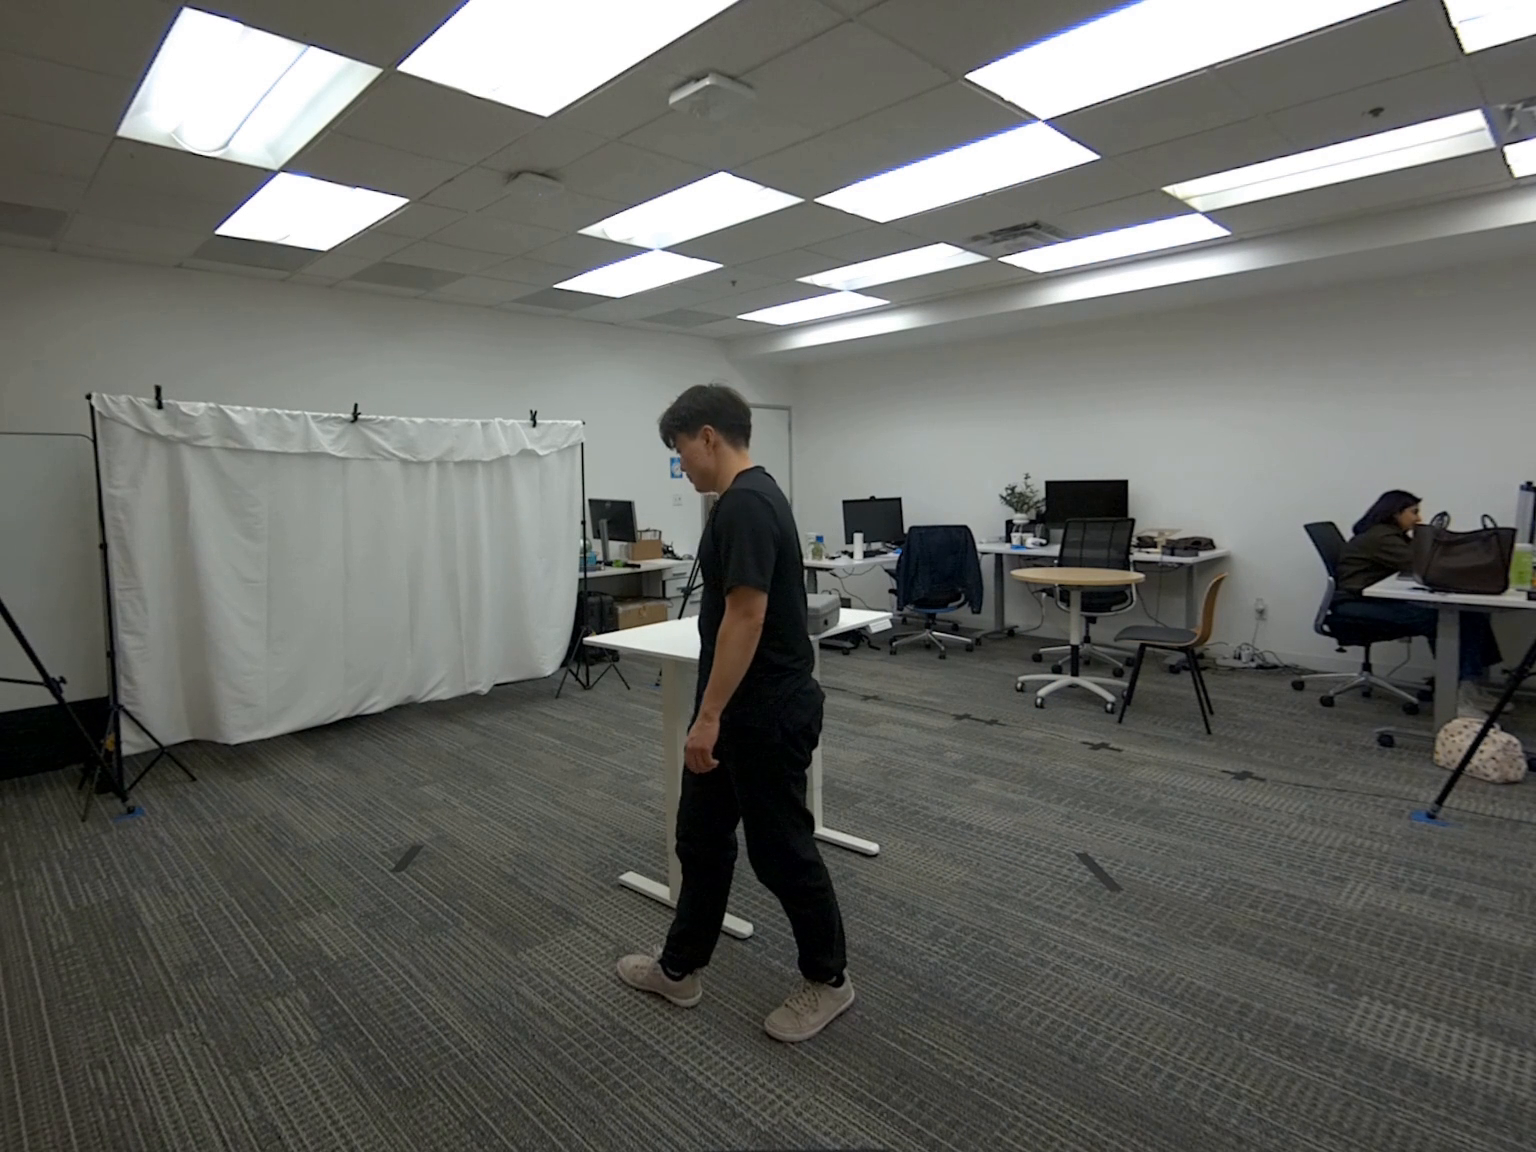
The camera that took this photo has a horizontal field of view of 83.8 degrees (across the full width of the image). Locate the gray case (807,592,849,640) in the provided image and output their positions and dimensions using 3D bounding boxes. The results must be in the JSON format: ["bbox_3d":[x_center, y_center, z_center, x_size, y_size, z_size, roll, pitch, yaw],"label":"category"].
[{"bbox_3d":[0.113,0.127,2.943,0.262,0.103,0.257,3,9,22],"label":"gray case"}]
